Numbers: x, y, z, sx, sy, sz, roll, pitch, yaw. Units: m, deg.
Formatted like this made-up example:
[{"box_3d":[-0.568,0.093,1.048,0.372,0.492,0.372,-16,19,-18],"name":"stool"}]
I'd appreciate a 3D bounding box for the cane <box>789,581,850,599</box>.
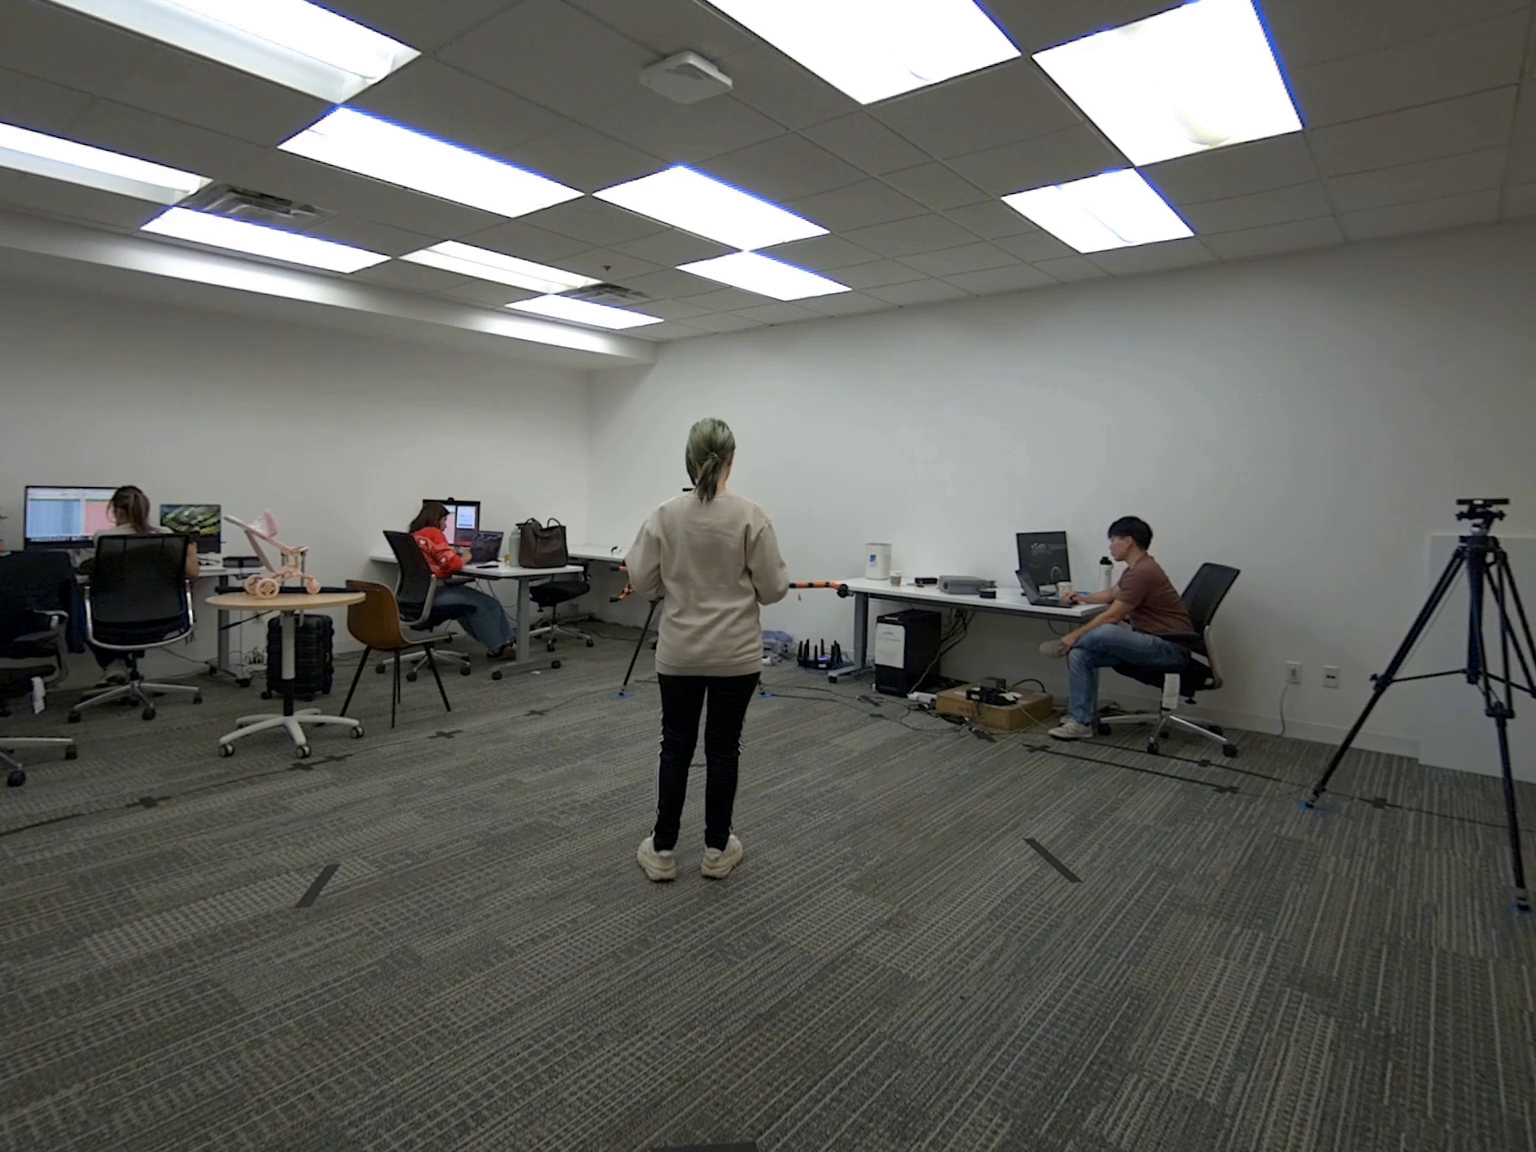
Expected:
[{"box_3d":[-0.157,0.033,3.335,0.914,0.150,0.207,1,11,6],"name":"cane"}]
